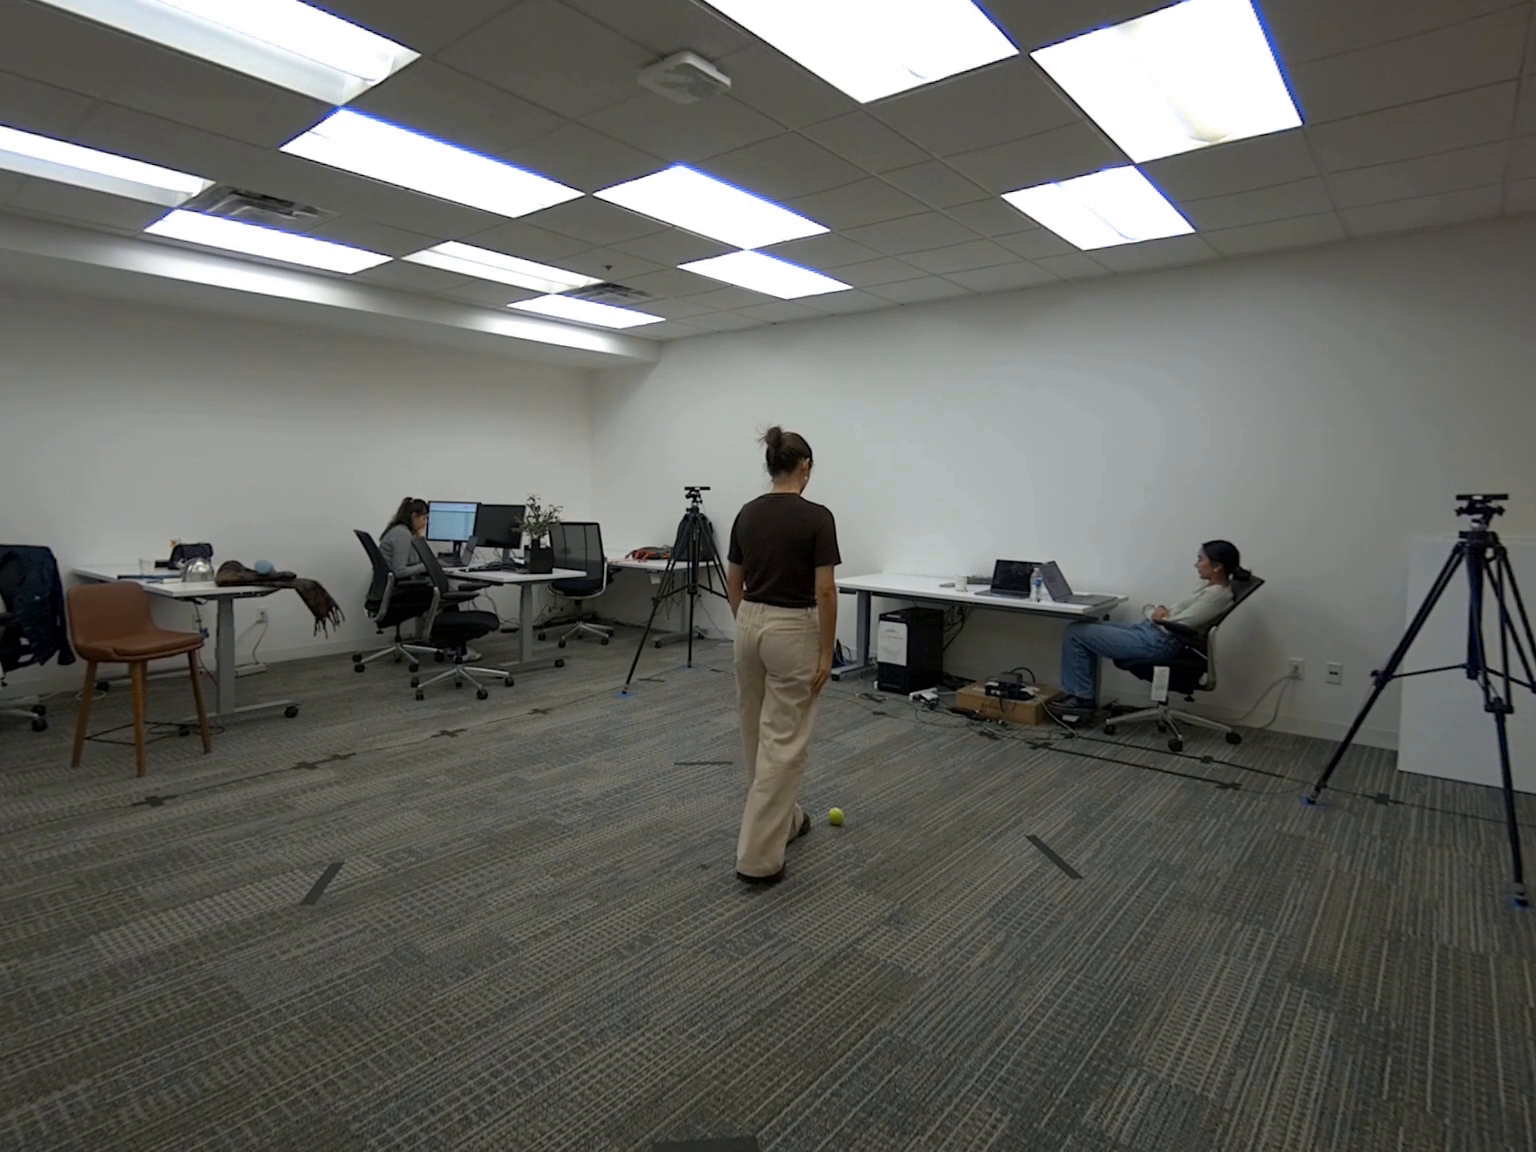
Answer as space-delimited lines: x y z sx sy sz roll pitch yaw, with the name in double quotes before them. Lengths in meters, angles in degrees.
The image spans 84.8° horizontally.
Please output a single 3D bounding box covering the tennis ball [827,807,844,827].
"tennis ball" 0.282 0.984 3.539 0.066 0.066 0.067 1 4 -2
